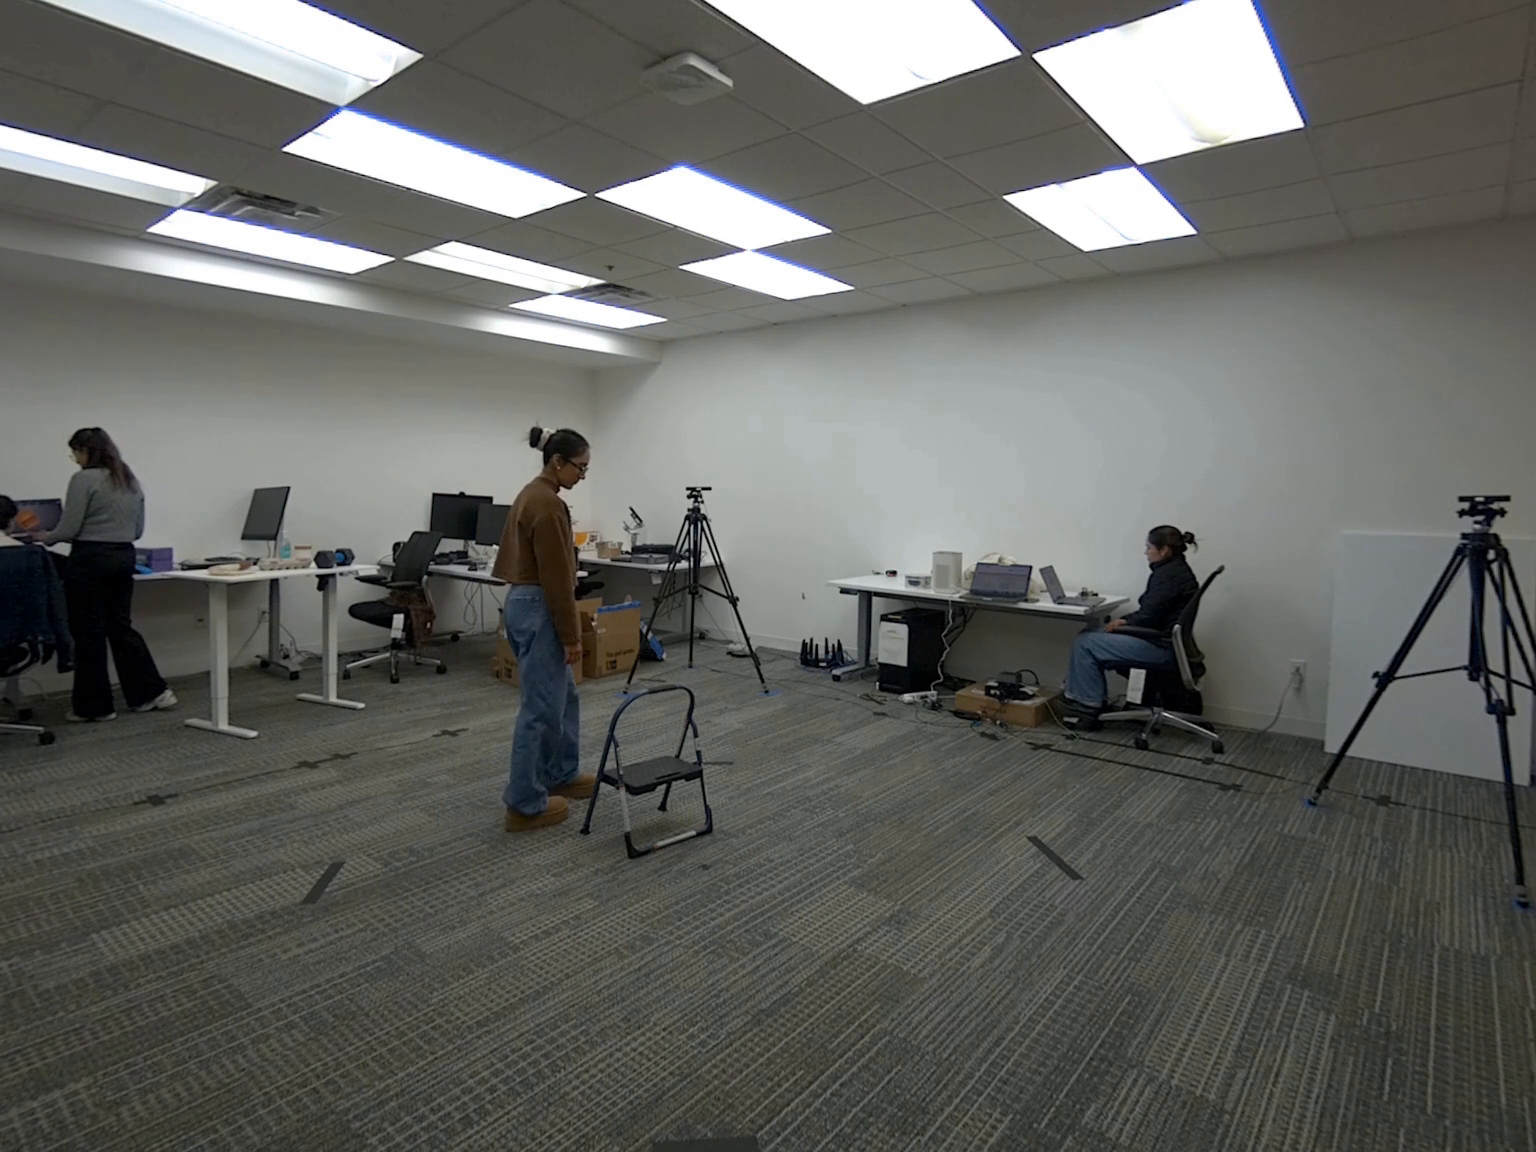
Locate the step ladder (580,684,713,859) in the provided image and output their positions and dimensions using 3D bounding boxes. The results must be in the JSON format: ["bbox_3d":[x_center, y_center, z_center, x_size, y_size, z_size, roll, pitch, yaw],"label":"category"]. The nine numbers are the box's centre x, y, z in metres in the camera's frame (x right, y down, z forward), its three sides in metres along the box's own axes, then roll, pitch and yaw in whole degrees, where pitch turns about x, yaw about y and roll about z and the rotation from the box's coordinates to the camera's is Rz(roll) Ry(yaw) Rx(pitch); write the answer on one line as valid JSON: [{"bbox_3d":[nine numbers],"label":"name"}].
[{"bbox_3d":[-0.492,0.727,3.413,0.417,0.604,0.361,-2,5,-44],"label":"step ladder"}]
